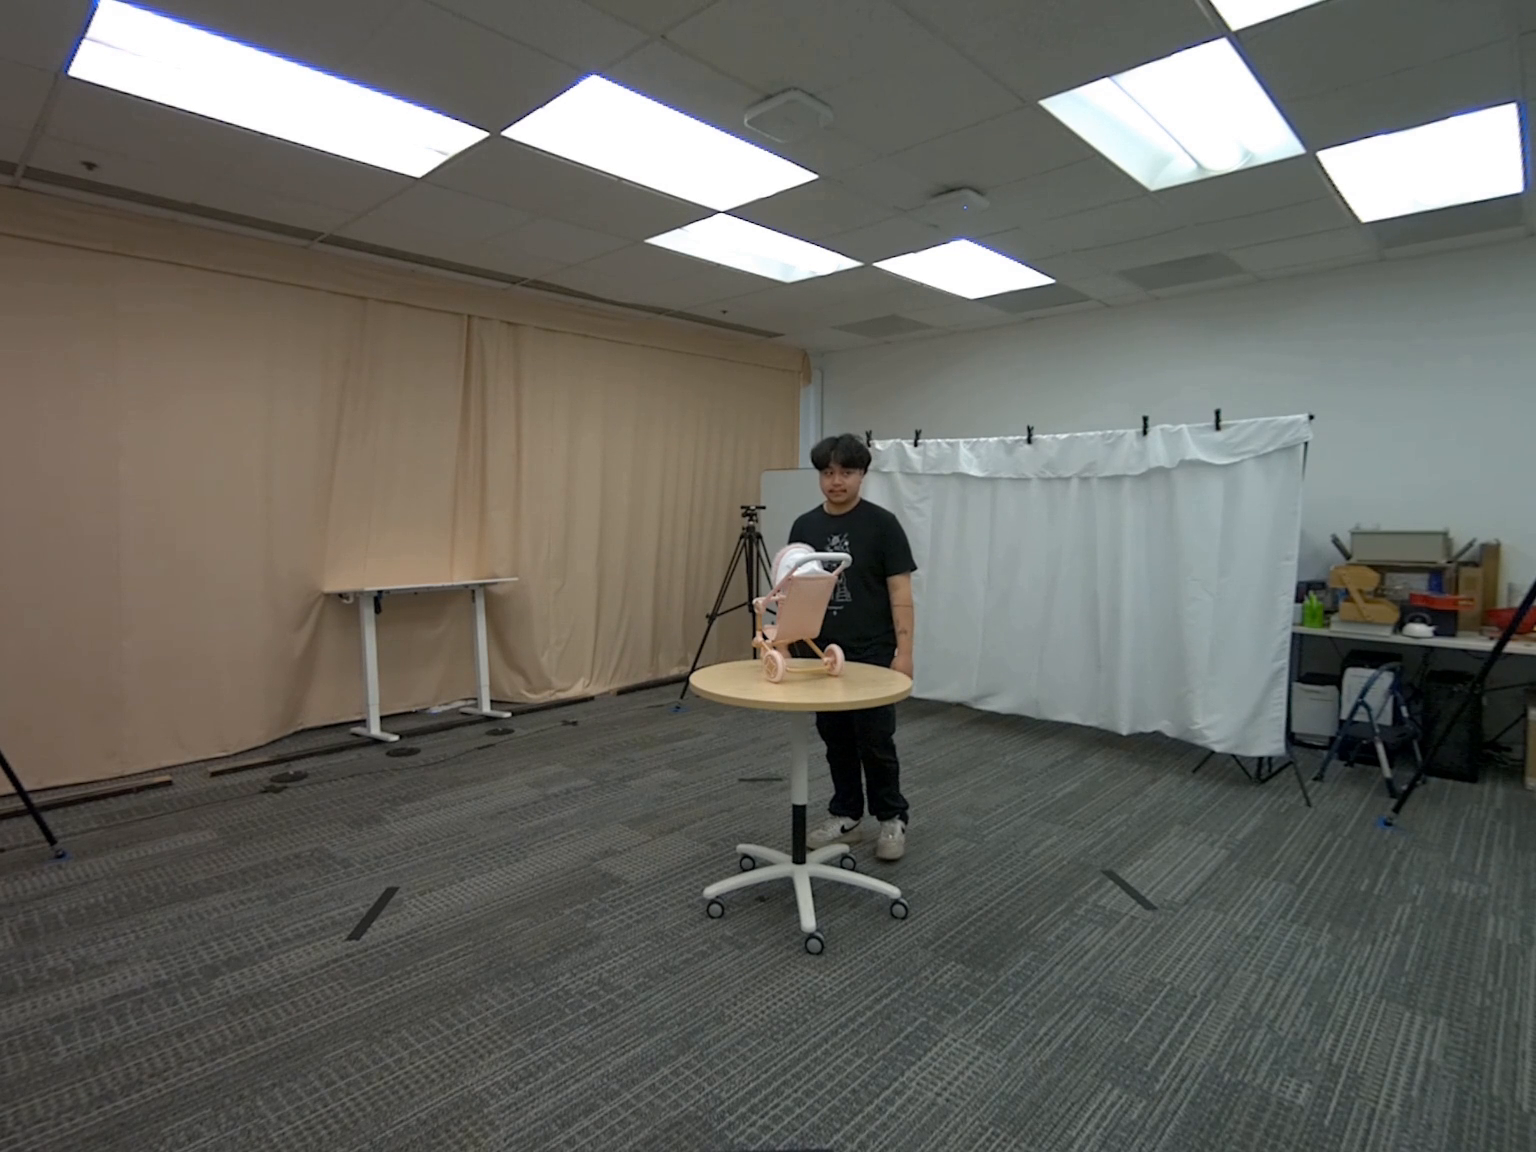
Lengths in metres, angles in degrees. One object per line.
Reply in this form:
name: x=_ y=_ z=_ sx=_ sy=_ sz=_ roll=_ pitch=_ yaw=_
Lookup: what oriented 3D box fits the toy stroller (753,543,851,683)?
toy stroller: x=0.095 y=0.126 z=2.954 sx=0.274 sy=0.531 sz=0.352 roll=-2 pitch=16 yaw=-27
